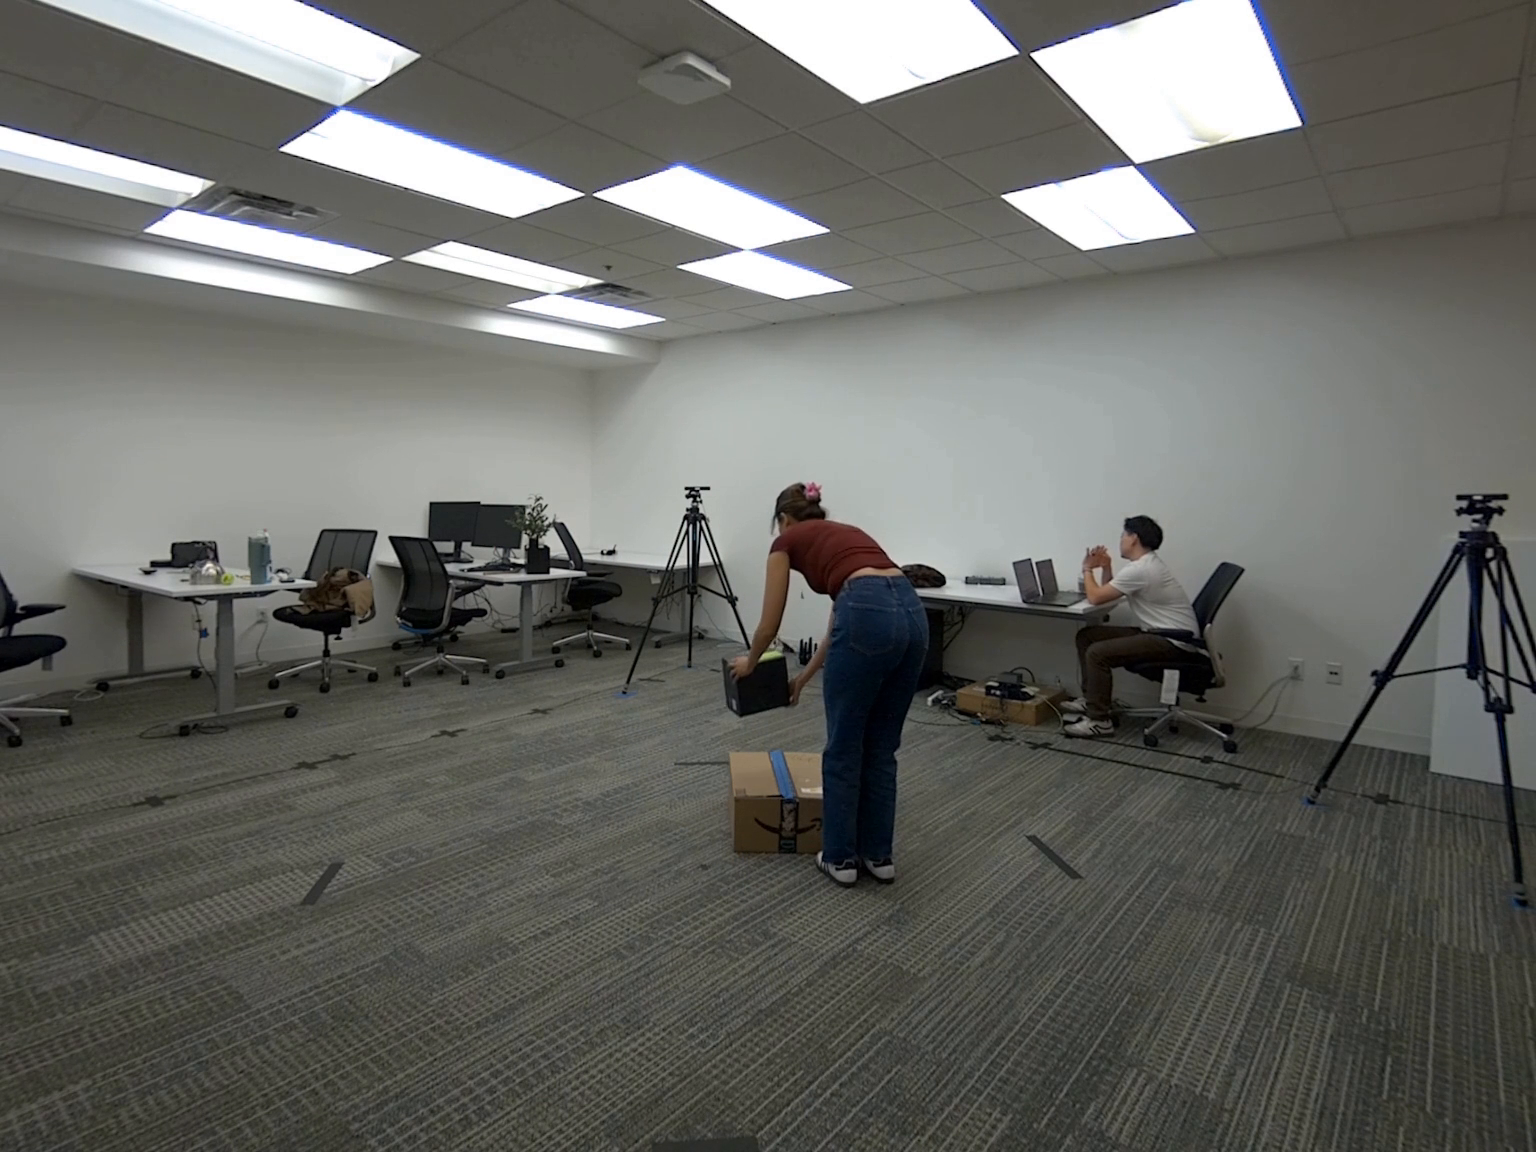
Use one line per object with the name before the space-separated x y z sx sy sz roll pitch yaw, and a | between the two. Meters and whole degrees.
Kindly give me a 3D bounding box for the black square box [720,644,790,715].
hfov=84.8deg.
black square box | -0.057 0.425 3.503 0.224 0.215 0.160 -9 10 -19
